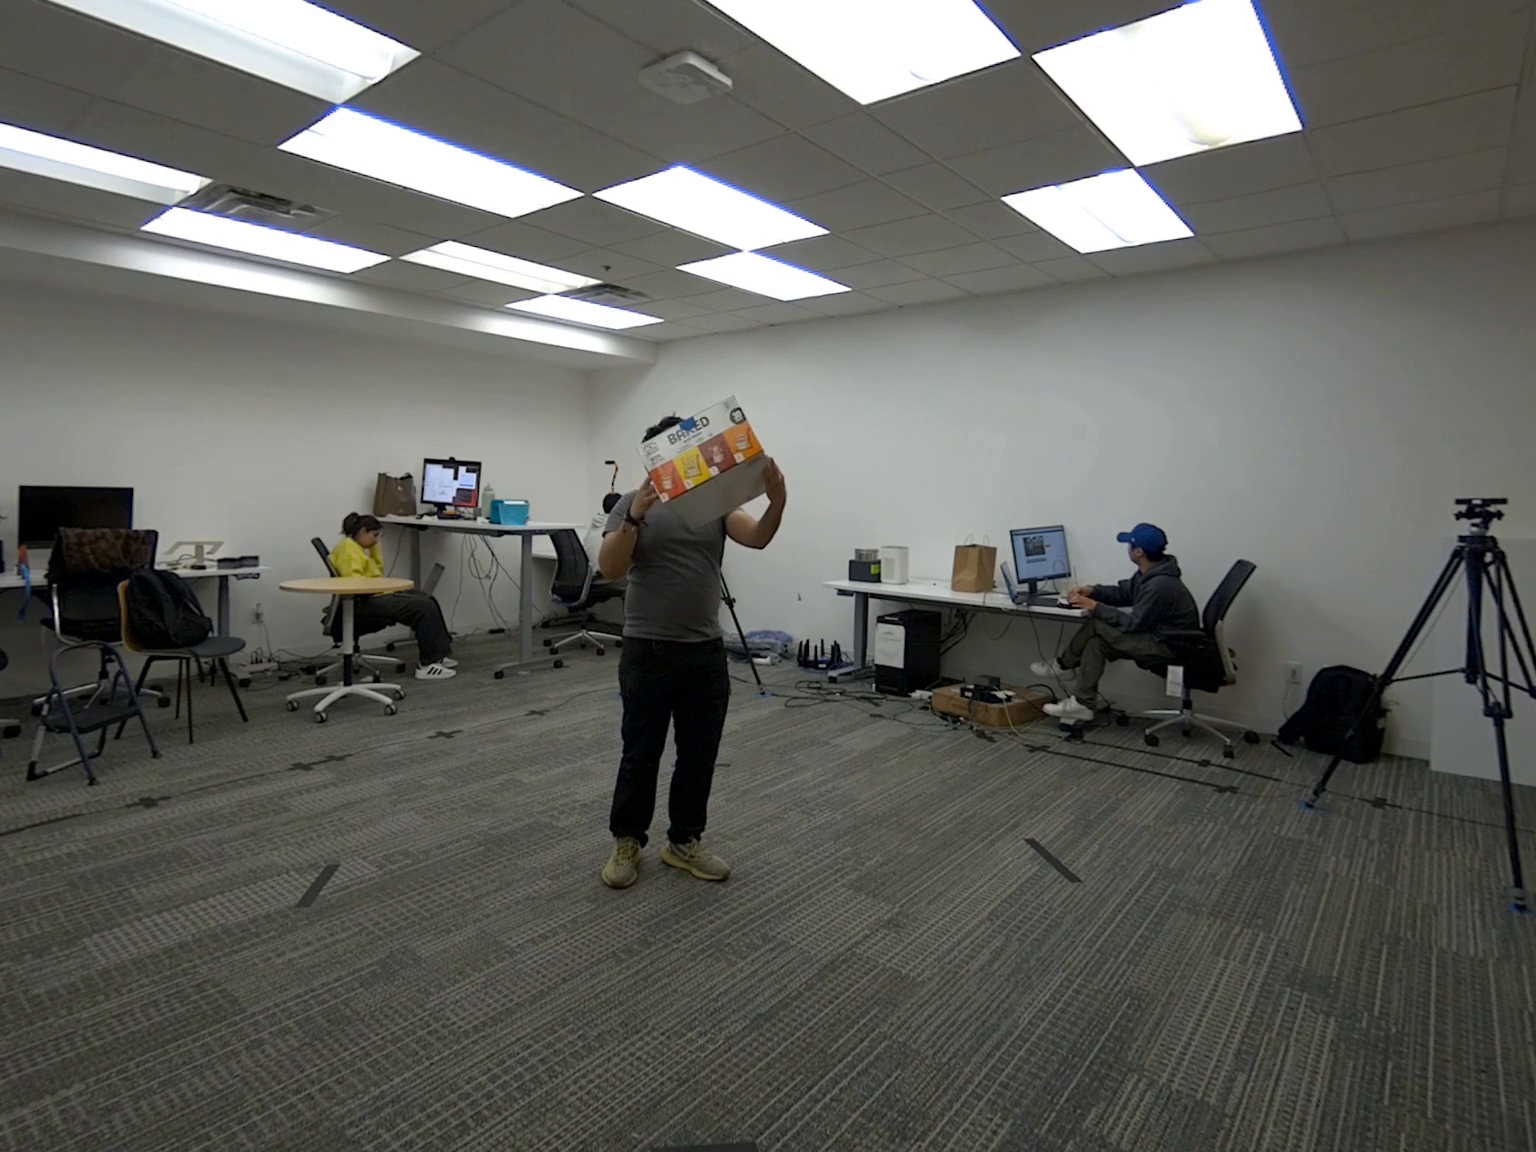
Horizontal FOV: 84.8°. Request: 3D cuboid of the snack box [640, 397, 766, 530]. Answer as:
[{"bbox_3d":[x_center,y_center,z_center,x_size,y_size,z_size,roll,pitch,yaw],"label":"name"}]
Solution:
[{"bbox_3d":[-0.189,-0.348,2.712,0.341,0.209,0.397,-27,-12,4],"label":"snack box"}]
